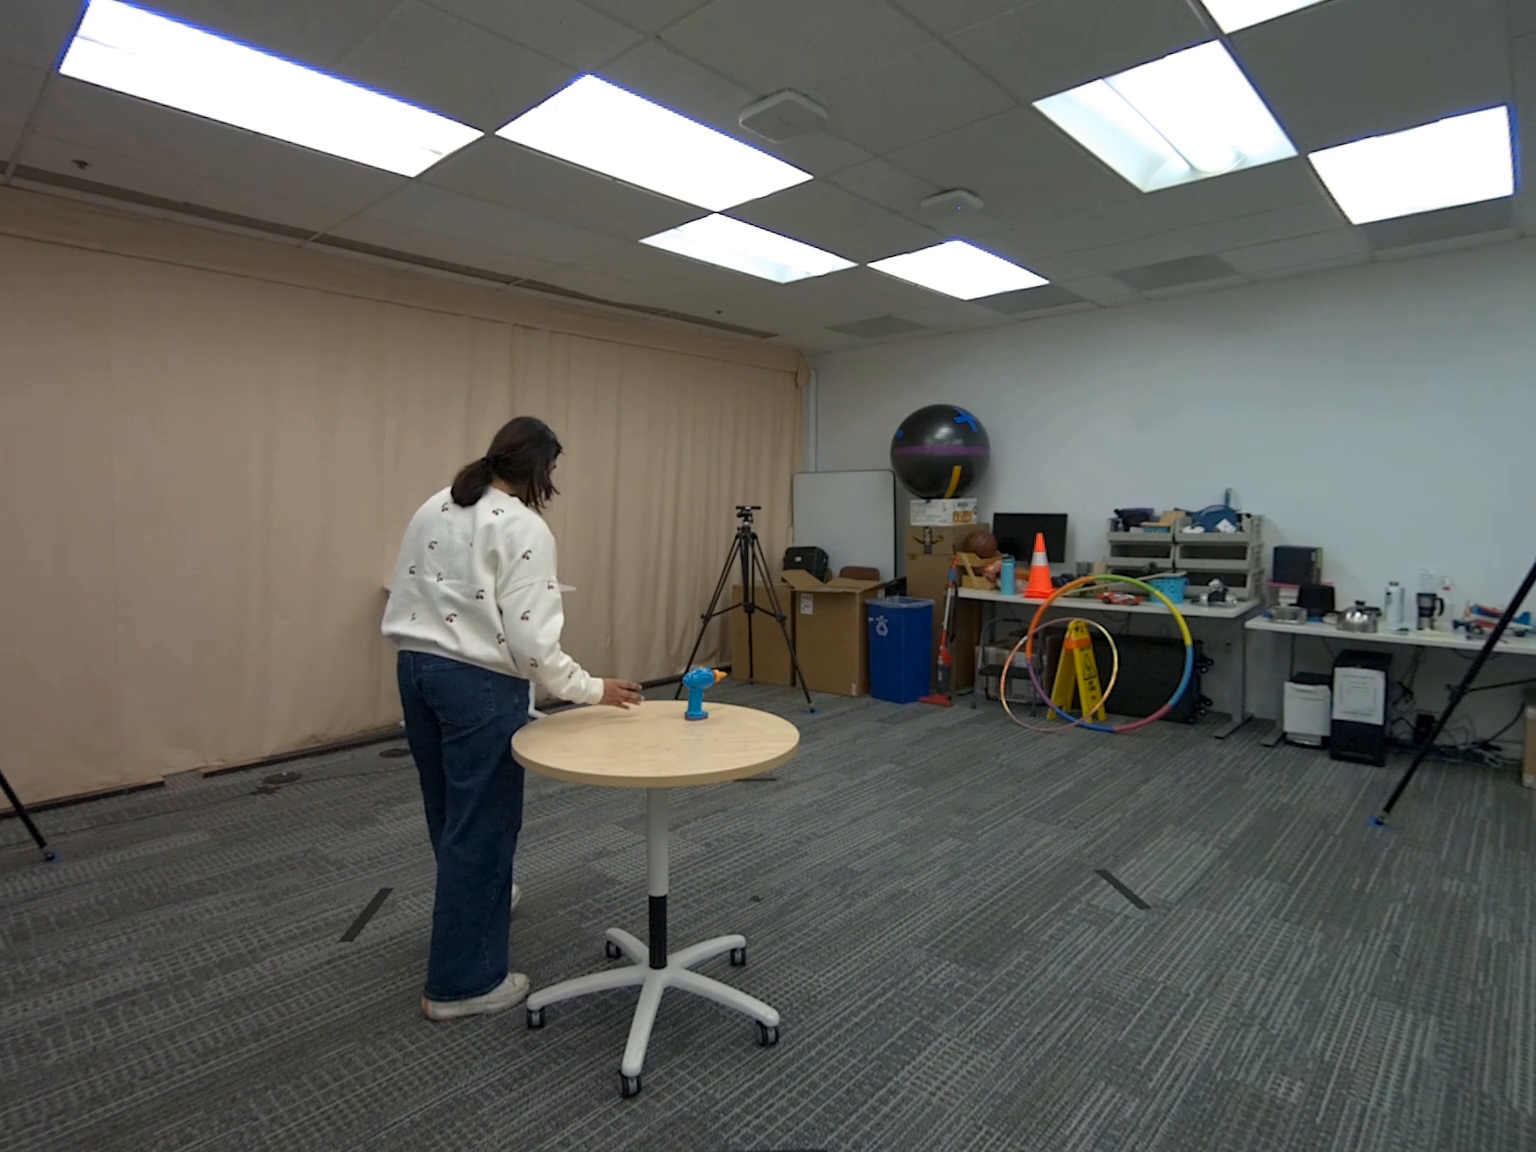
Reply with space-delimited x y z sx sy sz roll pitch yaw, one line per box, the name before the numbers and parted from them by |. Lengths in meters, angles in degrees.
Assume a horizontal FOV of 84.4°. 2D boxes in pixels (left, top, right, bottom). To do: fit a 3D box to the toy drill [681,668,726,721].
toy drill | -0.183 0.339 2.440 0.063 0.146 0.165 2 5 45
